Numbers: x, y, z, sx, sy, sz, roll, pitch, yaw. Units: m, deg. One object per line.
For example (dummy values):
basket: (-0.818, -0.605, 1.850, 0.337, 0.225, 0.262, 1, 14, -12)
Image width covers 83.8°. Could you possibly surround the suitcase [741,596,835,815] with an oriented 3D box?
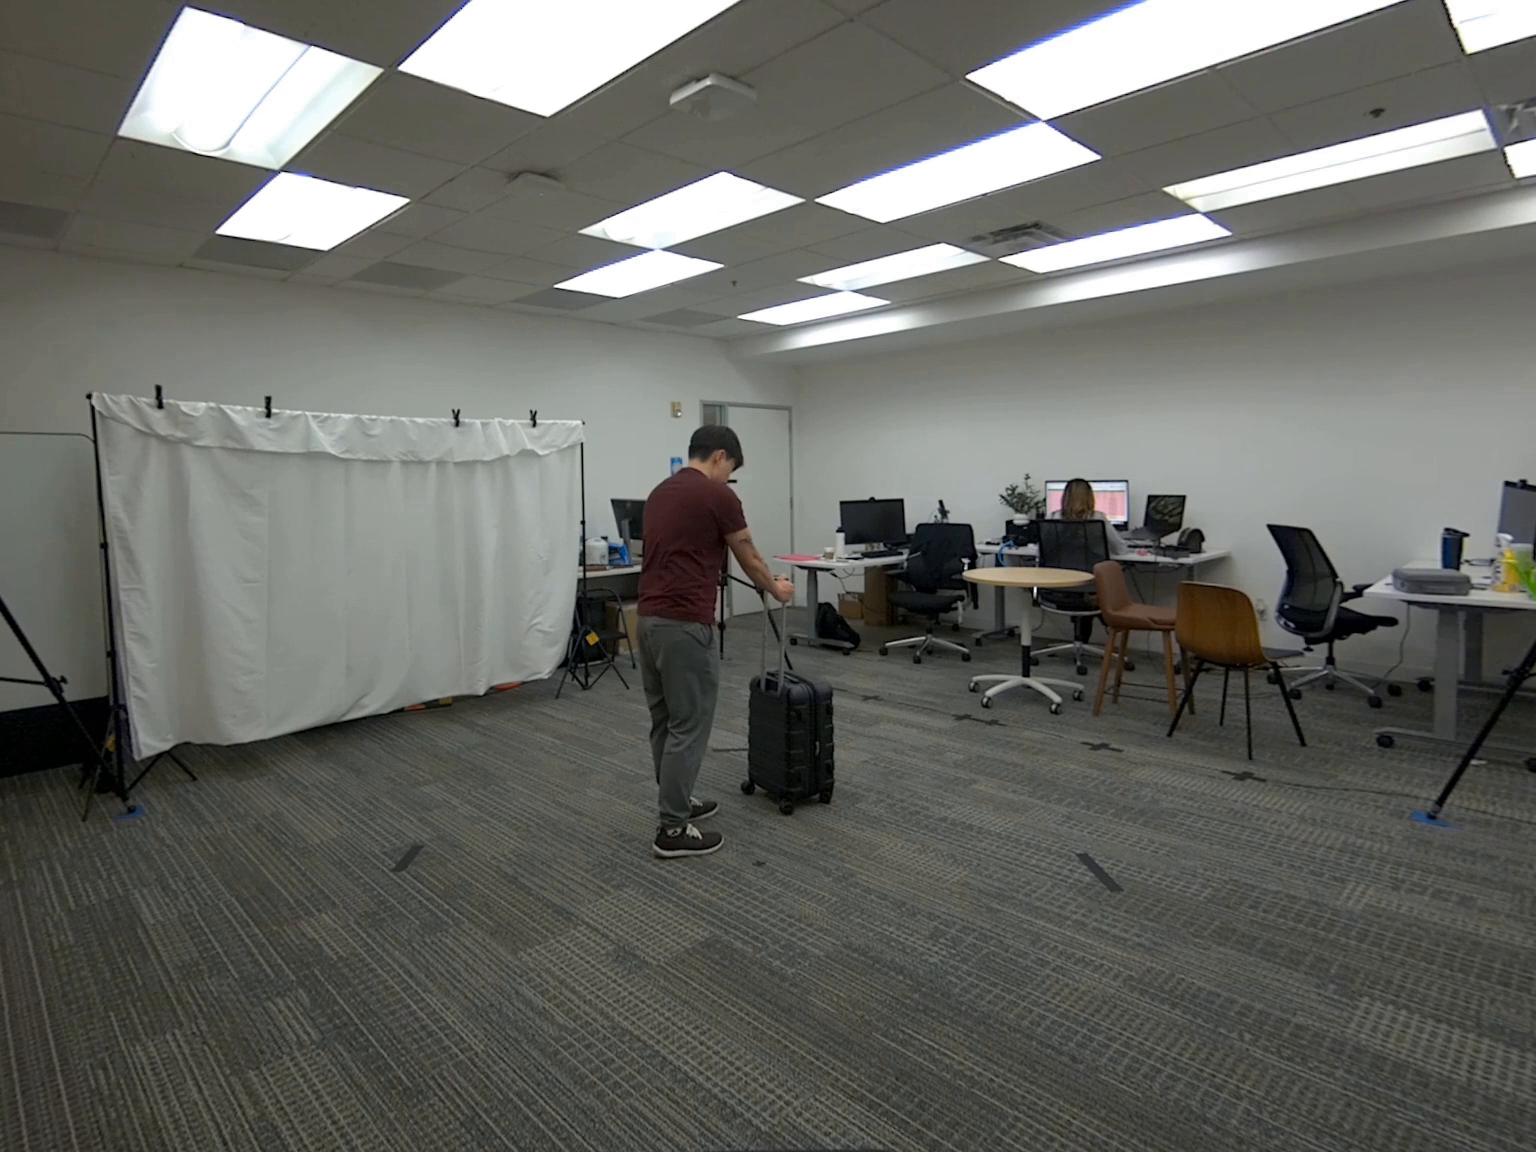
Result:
suitcase: (0.104, 0.502, 3.740, 0.250, 0.976, 0.395, 0, 3, -31)
